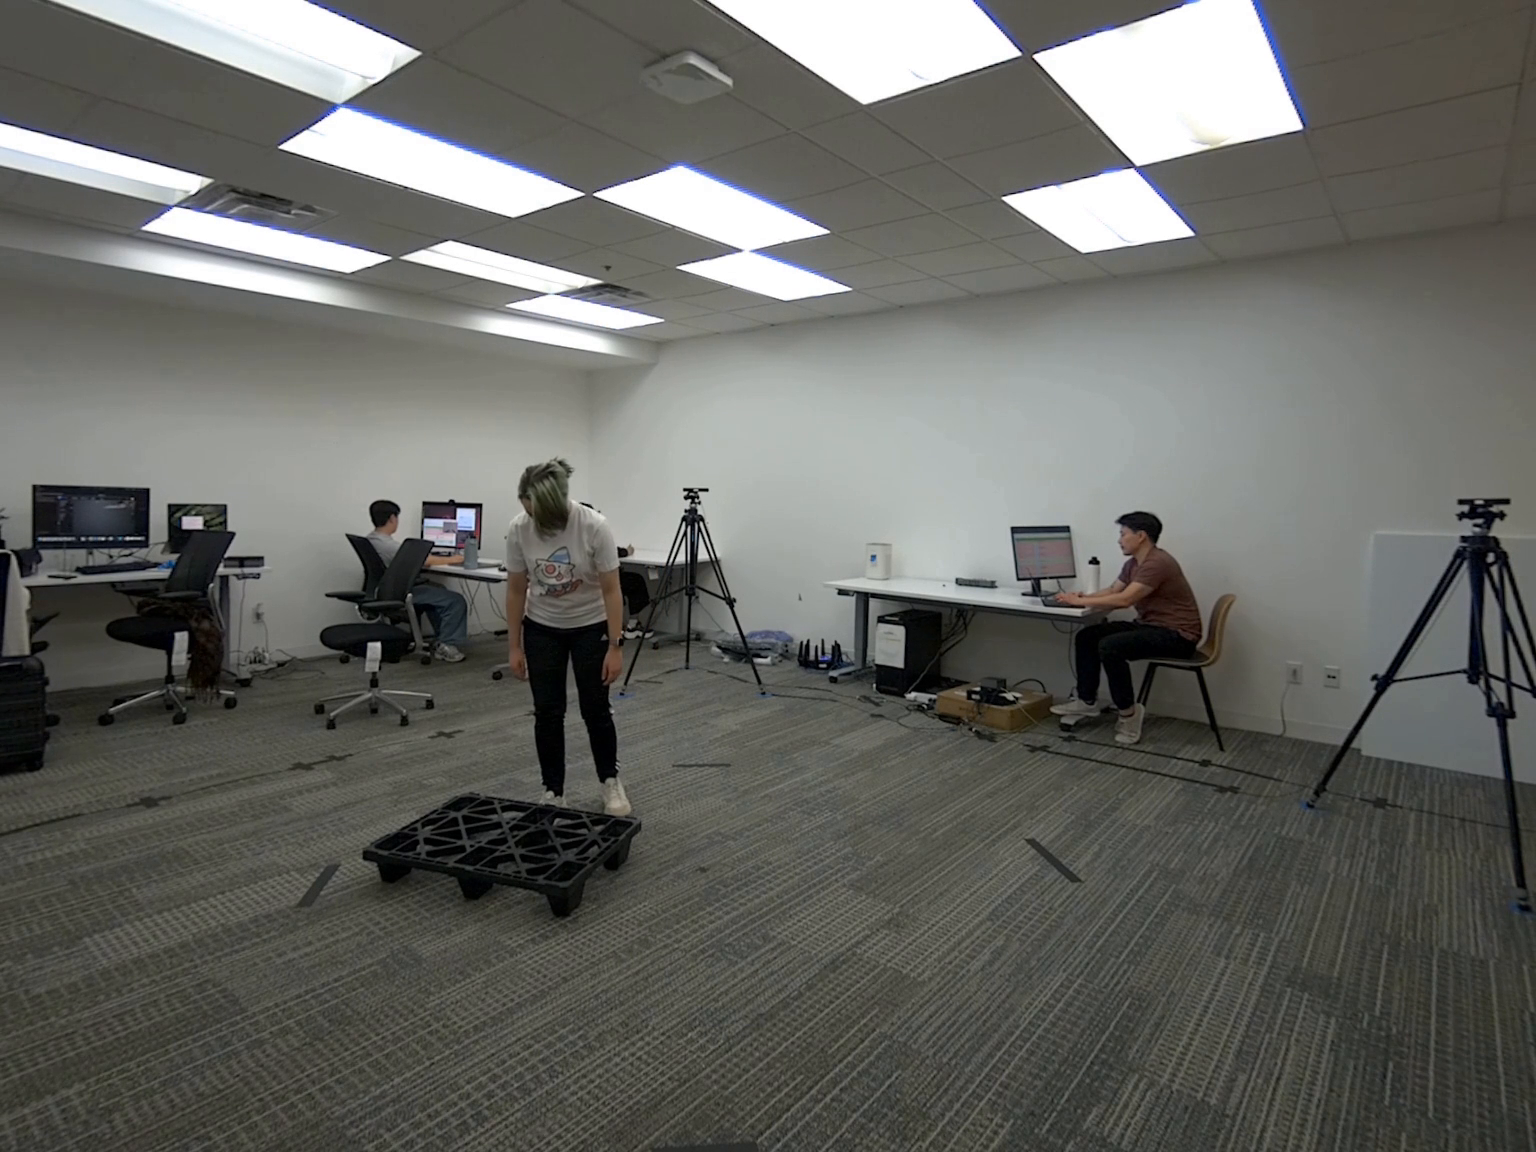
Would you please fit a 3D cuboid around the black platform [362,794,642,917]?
[{"bbox_3d":[-0.946,0.991,3.071,0.821,0.142,0.596,3,7,17],"label":"black platform"}]
